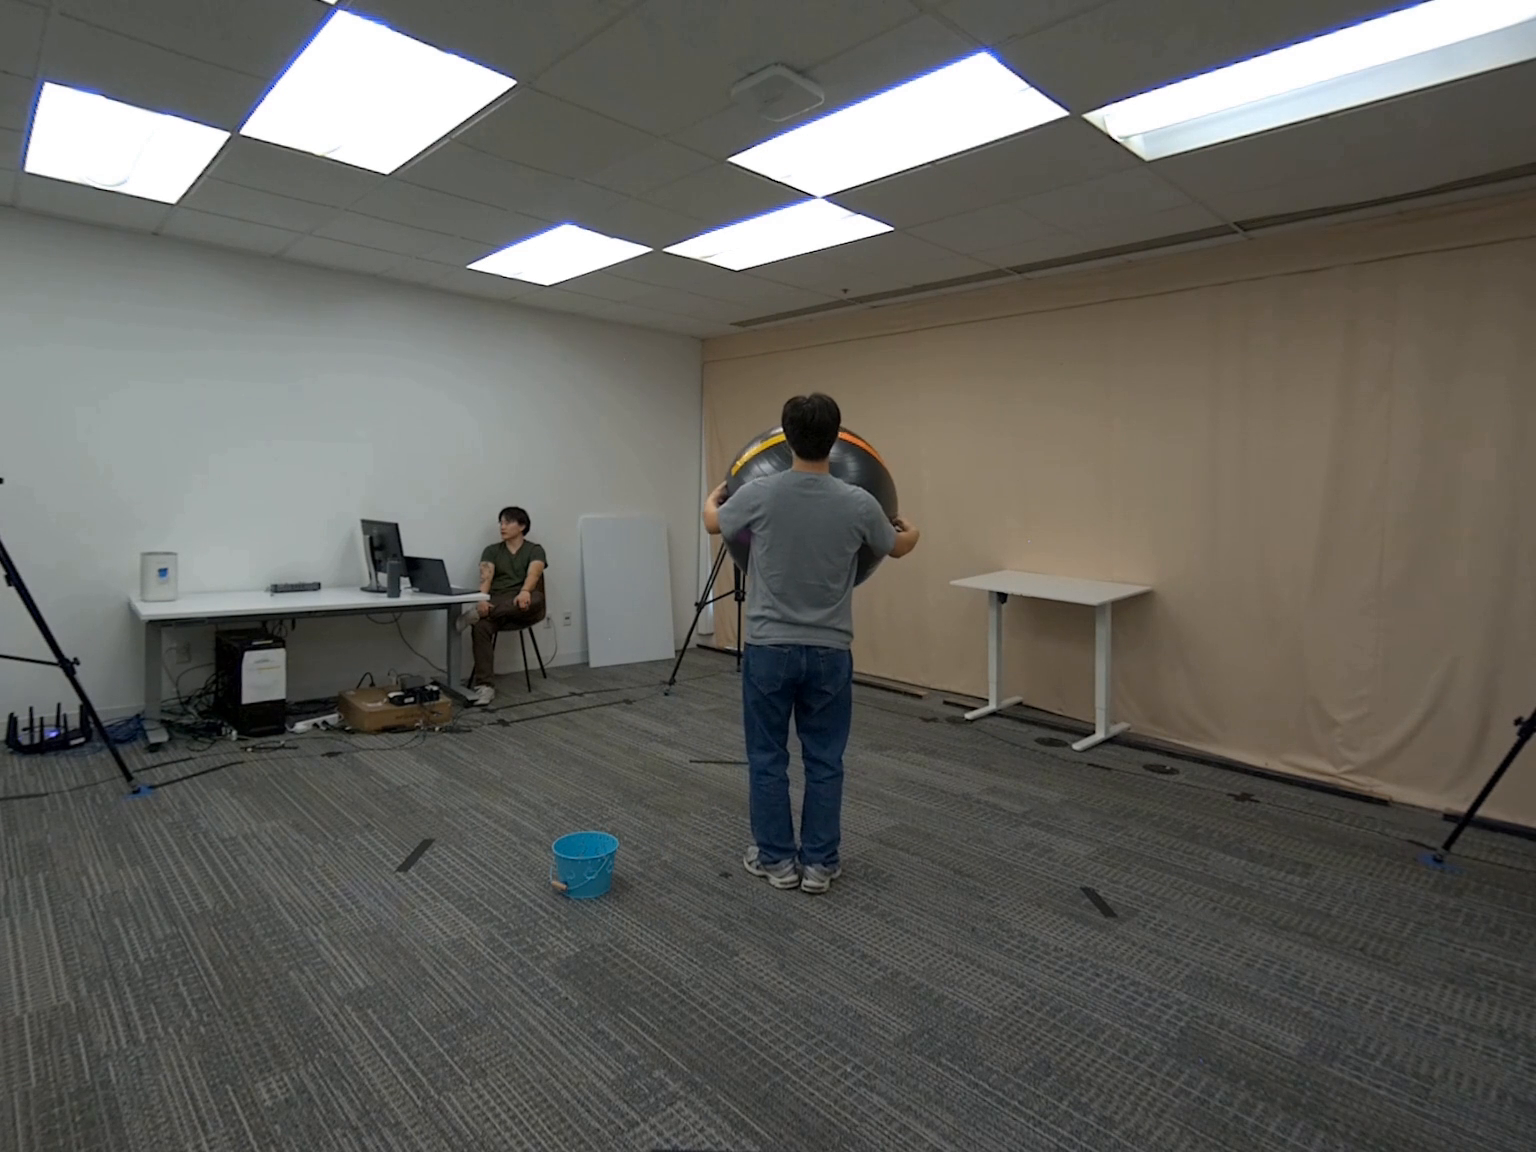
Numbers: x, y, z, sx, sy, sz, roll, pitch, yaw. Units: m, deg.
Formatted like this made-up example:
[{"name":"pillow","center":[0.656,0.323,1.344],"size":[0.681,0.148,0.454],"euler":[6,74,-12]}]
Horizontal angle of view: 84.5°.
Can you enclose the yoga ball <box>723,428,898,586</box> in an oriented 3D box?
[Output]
[{"name":"yoga ball","center":[0.167,-0.268,3.581],"size":[0.757,0.756,0.761],"euler":[1,4,-1]}]
